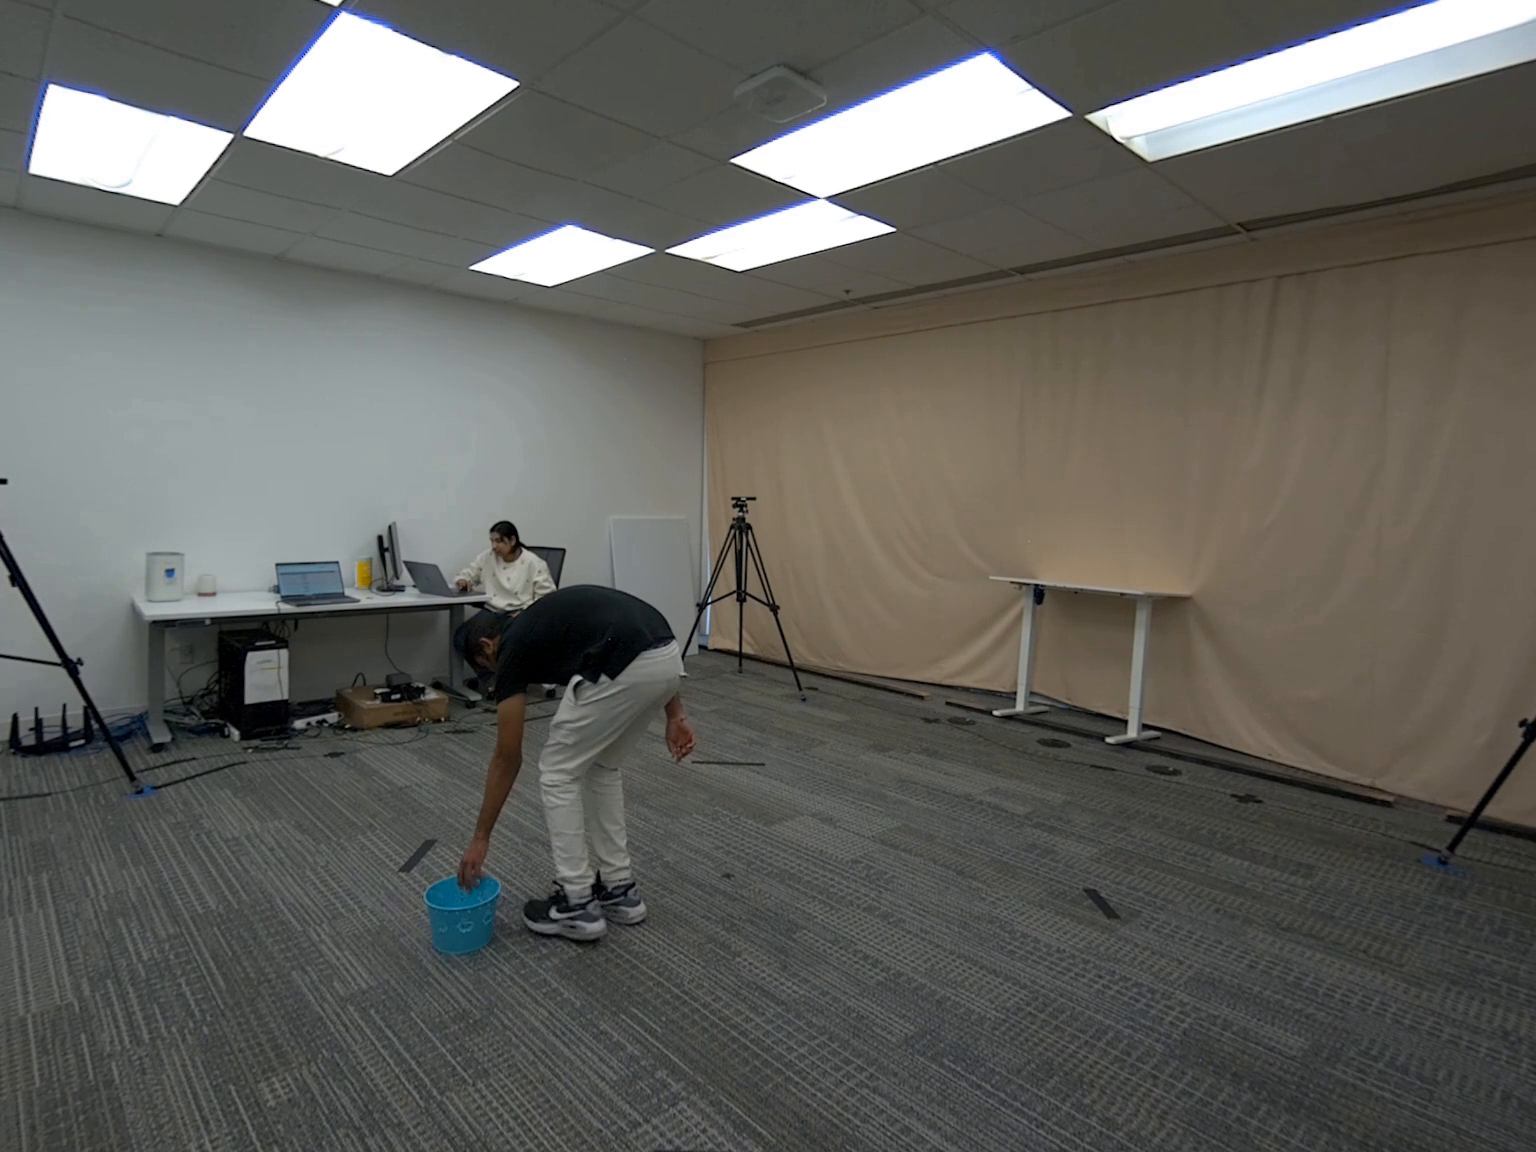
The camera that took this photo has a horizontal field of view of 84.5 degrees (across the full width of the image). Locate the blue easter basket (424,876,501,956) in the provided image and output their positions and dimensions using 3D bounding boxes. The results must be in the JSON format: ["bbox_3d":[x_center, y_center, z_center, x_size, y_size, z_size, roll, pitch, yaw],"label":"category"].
[{"bbox_3d":[-0.949,1.055,2.622,0.243,0.155,0.244,1,5,-1],"label":"blue easter basket"}]
